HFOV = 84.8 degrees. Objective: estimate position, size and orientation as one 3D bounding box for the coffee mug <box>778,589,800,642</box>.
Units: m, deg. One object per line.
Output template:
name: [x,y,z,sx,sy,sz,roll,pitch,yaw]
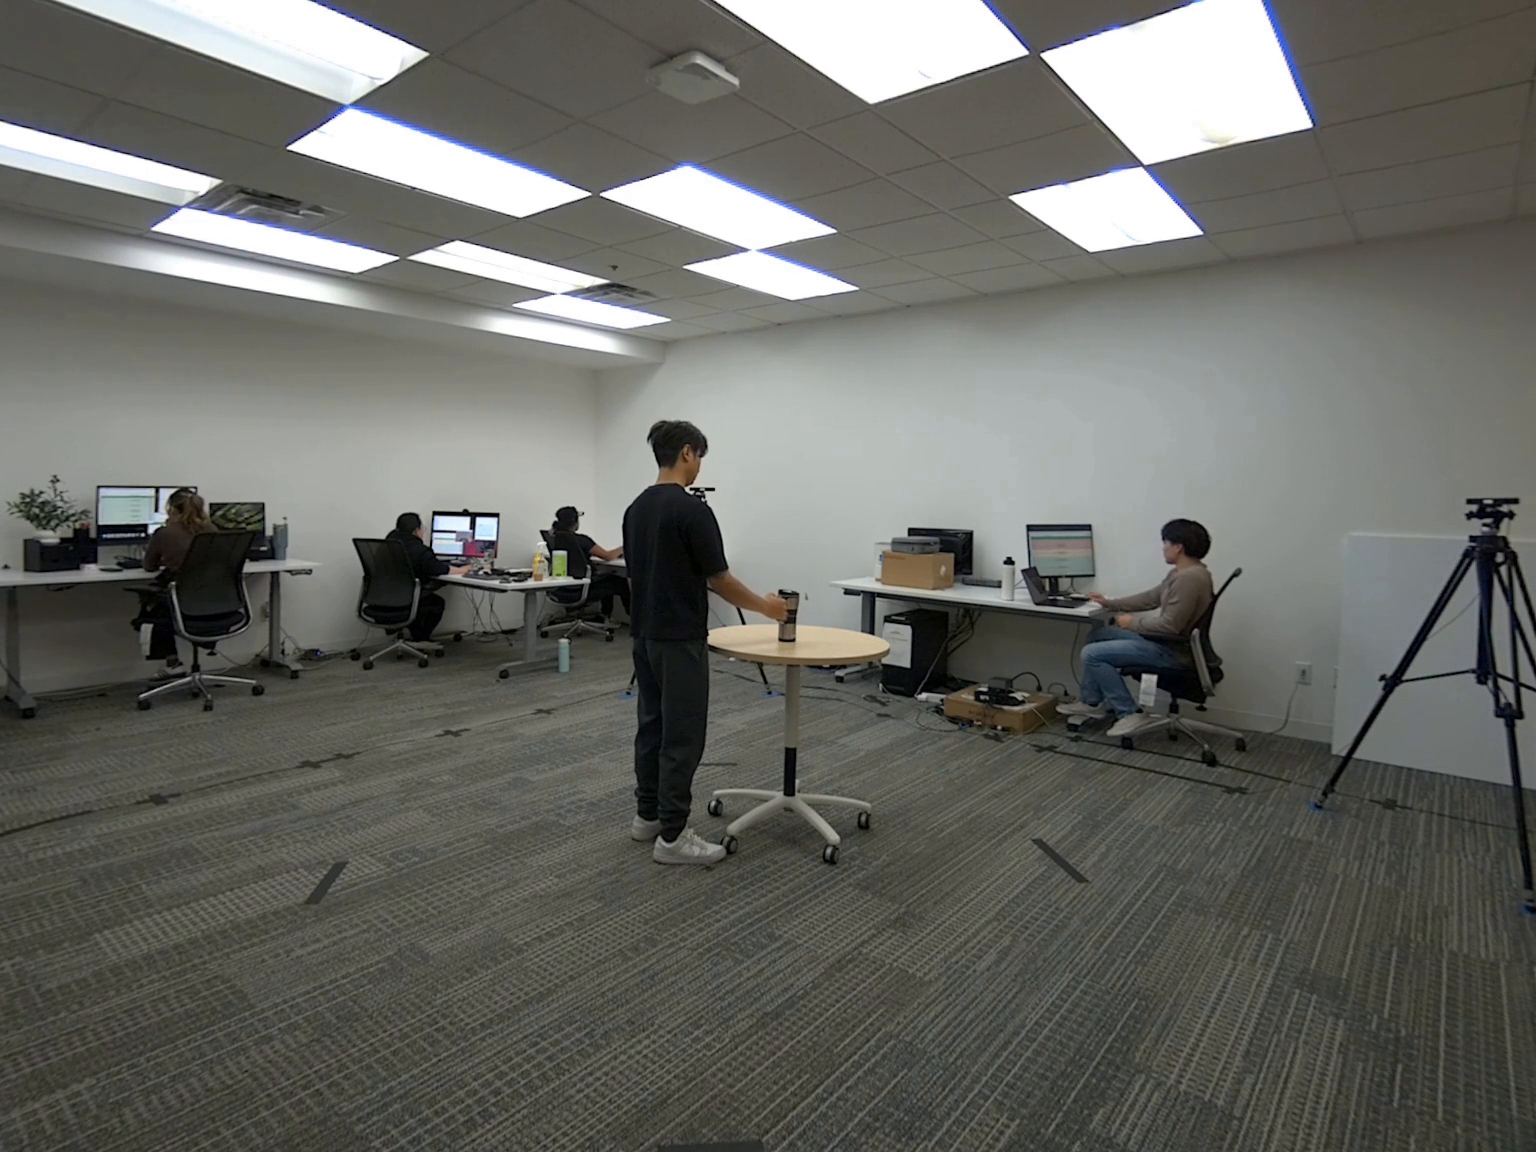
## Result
coffee mug: [0.049,0.163,3.412,0.118,0.202,0.091,1,4,-33]
